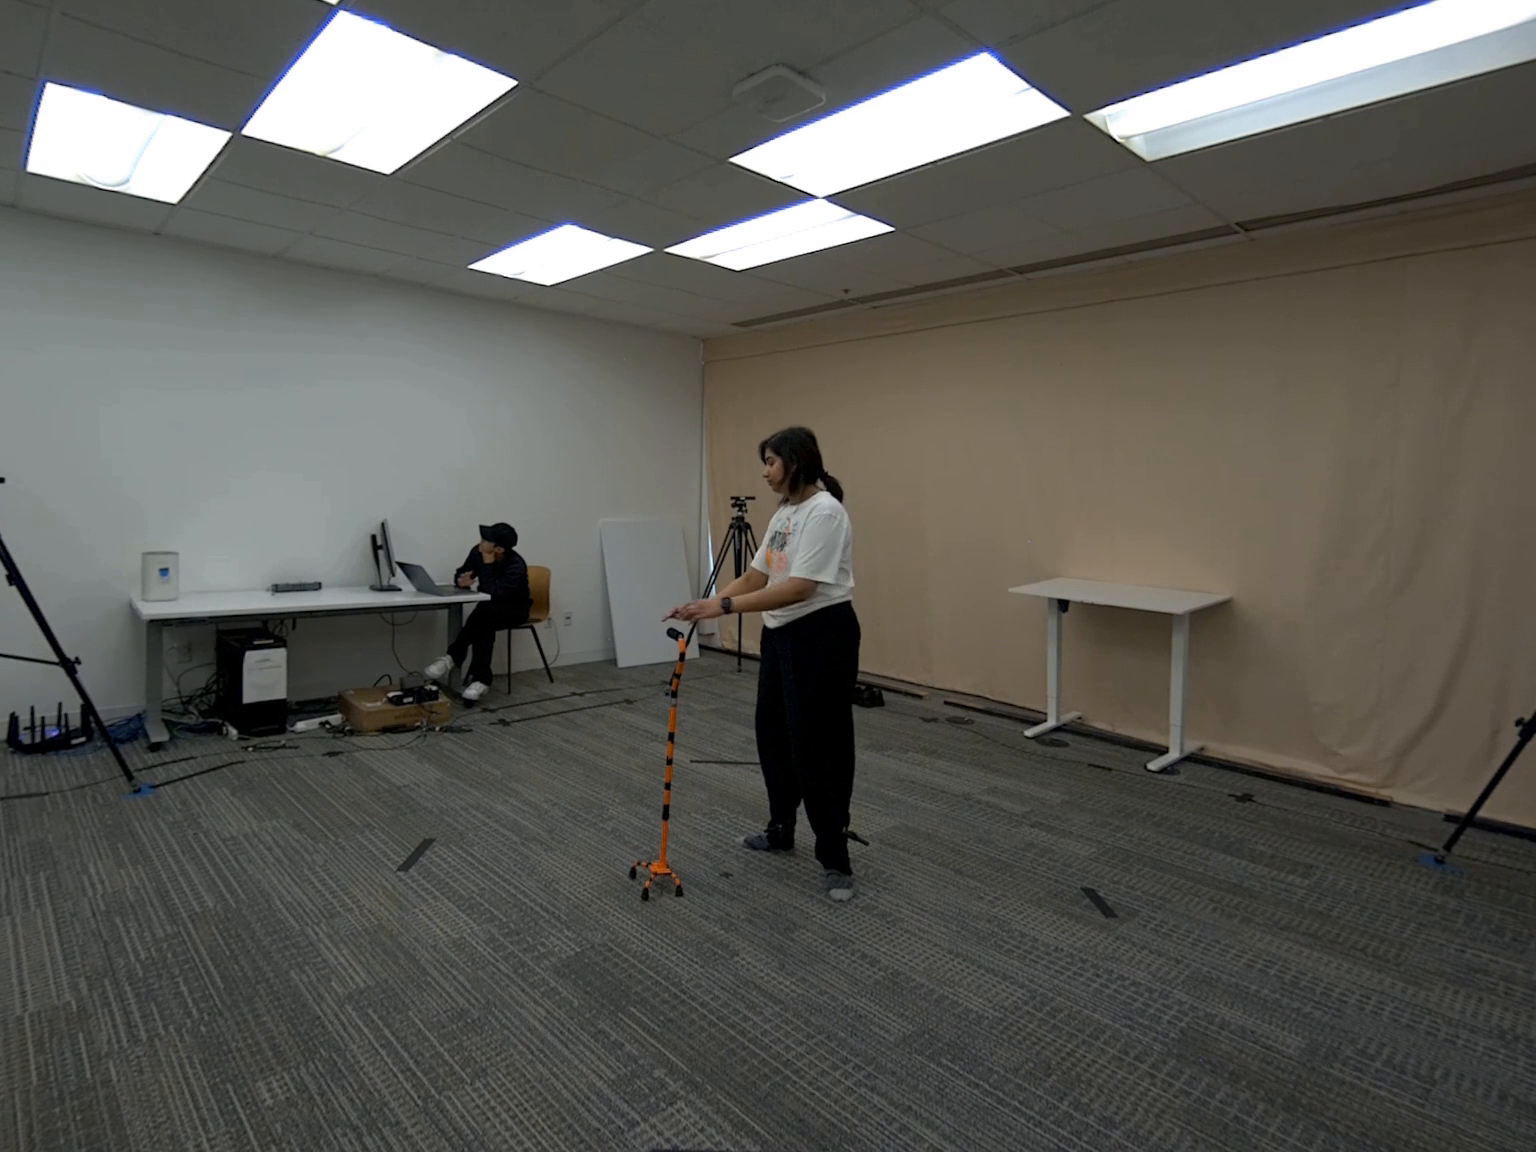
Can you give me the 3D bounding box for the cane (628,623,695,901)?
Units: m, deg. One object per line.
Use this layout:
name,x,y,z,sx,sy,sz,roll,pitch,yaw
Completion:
cane,-0.371,0.653,2.985,0.149,0.906,0.210,4,2,-24
